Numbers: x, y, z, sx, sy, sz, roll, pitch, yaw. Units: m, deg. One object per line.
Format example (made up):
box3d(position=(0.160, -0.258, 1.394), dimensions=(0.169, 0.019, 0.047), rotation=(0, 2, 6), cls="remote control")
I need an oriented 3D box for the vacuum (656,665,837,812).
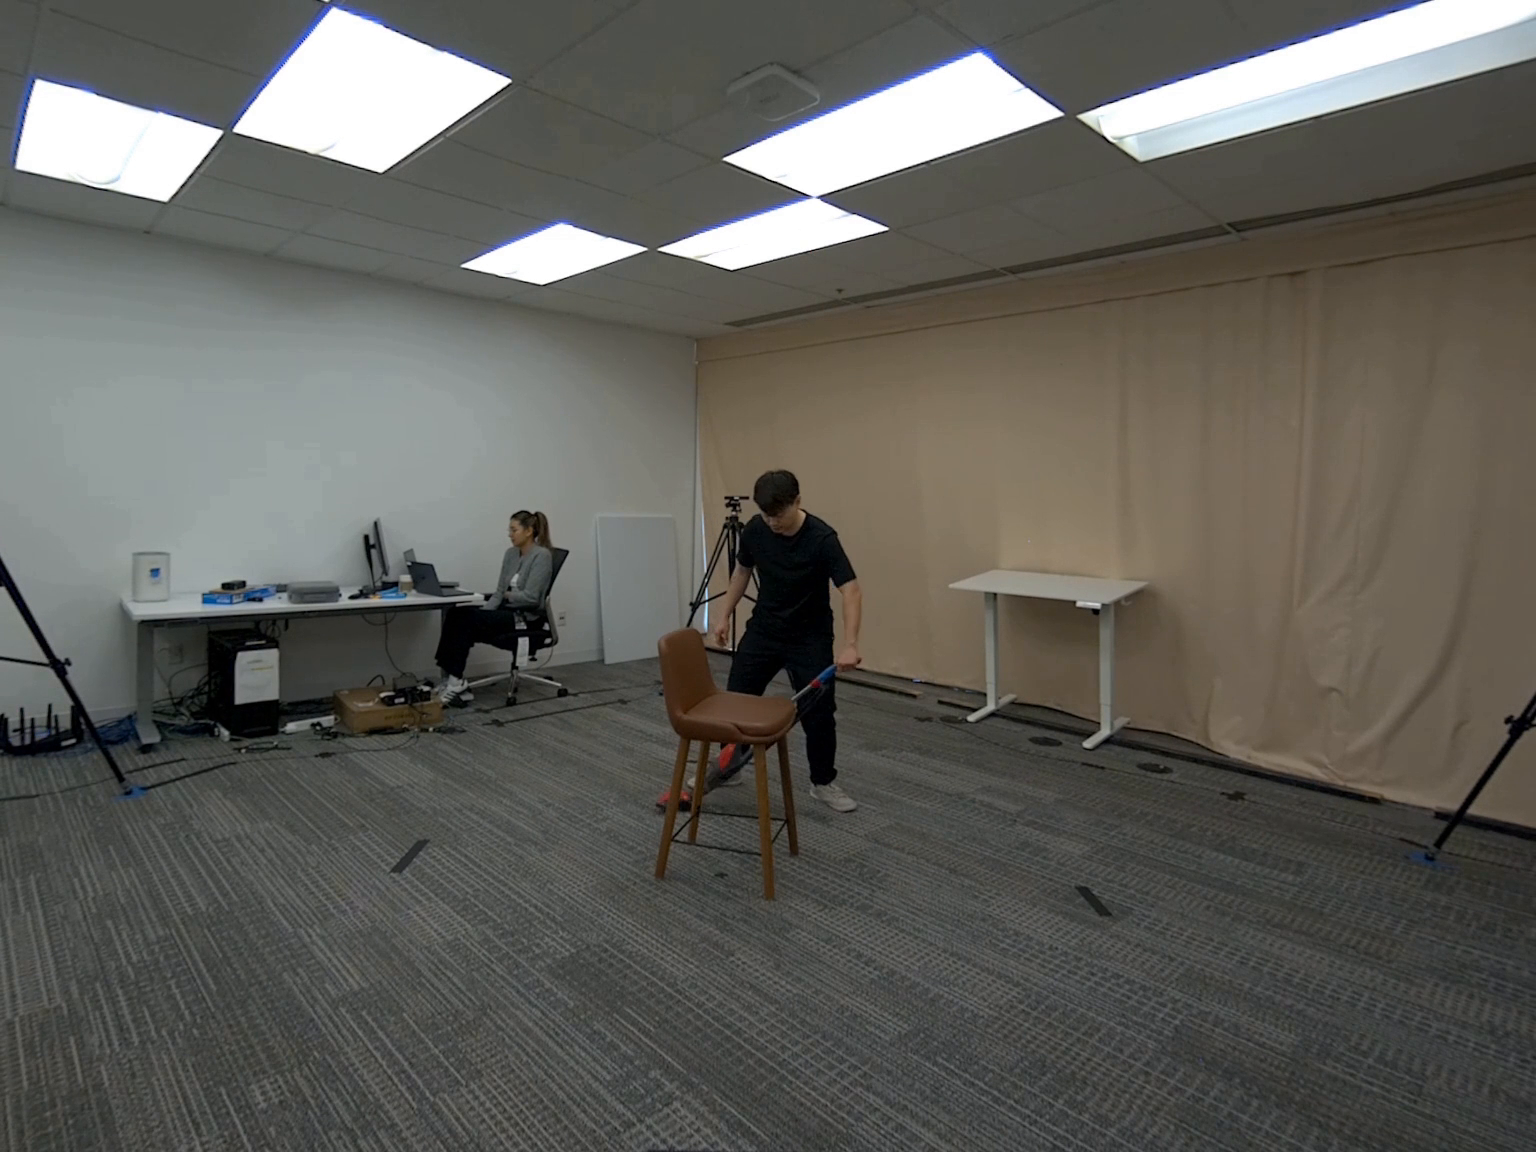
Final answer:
box3d(position=(-0.026, 0.698, 3.672), dimensions=(1.051, 0.144, 0.251), rotation=(-39, -1, 14), cls="vacuum")
